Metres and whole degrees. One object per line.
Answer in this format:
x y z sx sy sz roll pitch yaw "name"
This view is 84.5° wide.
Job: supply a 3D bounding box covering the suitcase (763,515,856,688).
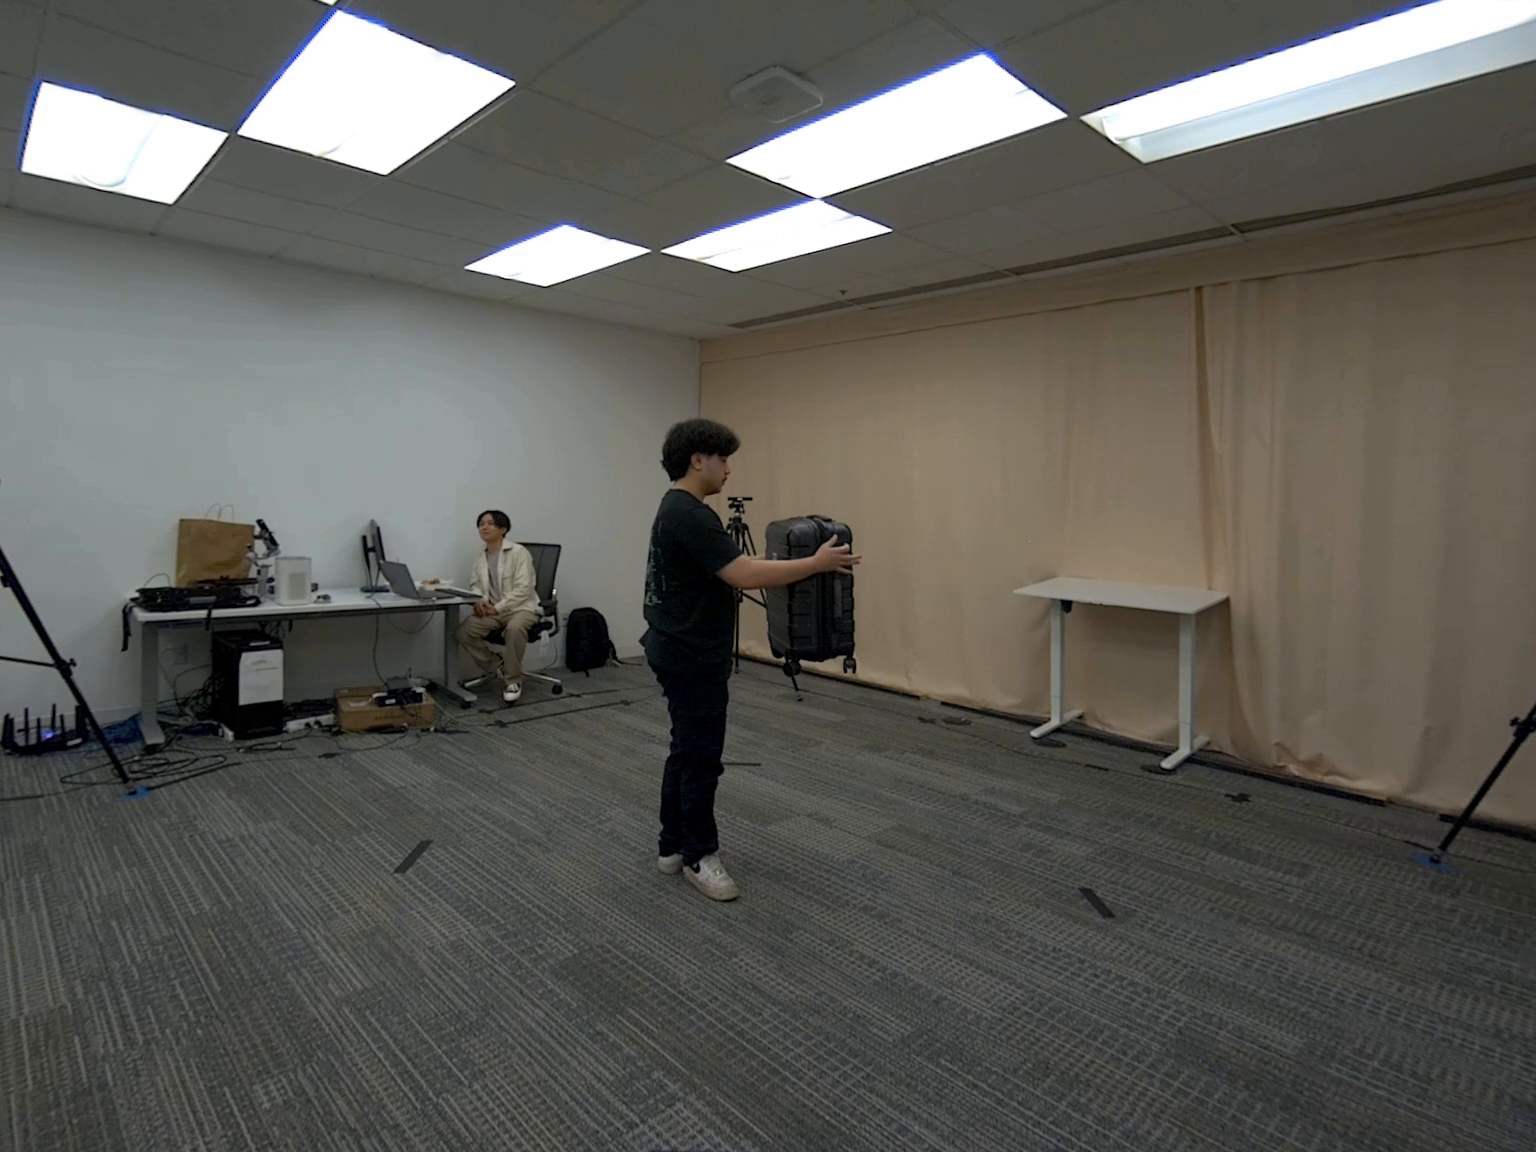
0.140 0.052 3.106 0.245 0.547 0.381 -3 7 -16 "suitcase"
